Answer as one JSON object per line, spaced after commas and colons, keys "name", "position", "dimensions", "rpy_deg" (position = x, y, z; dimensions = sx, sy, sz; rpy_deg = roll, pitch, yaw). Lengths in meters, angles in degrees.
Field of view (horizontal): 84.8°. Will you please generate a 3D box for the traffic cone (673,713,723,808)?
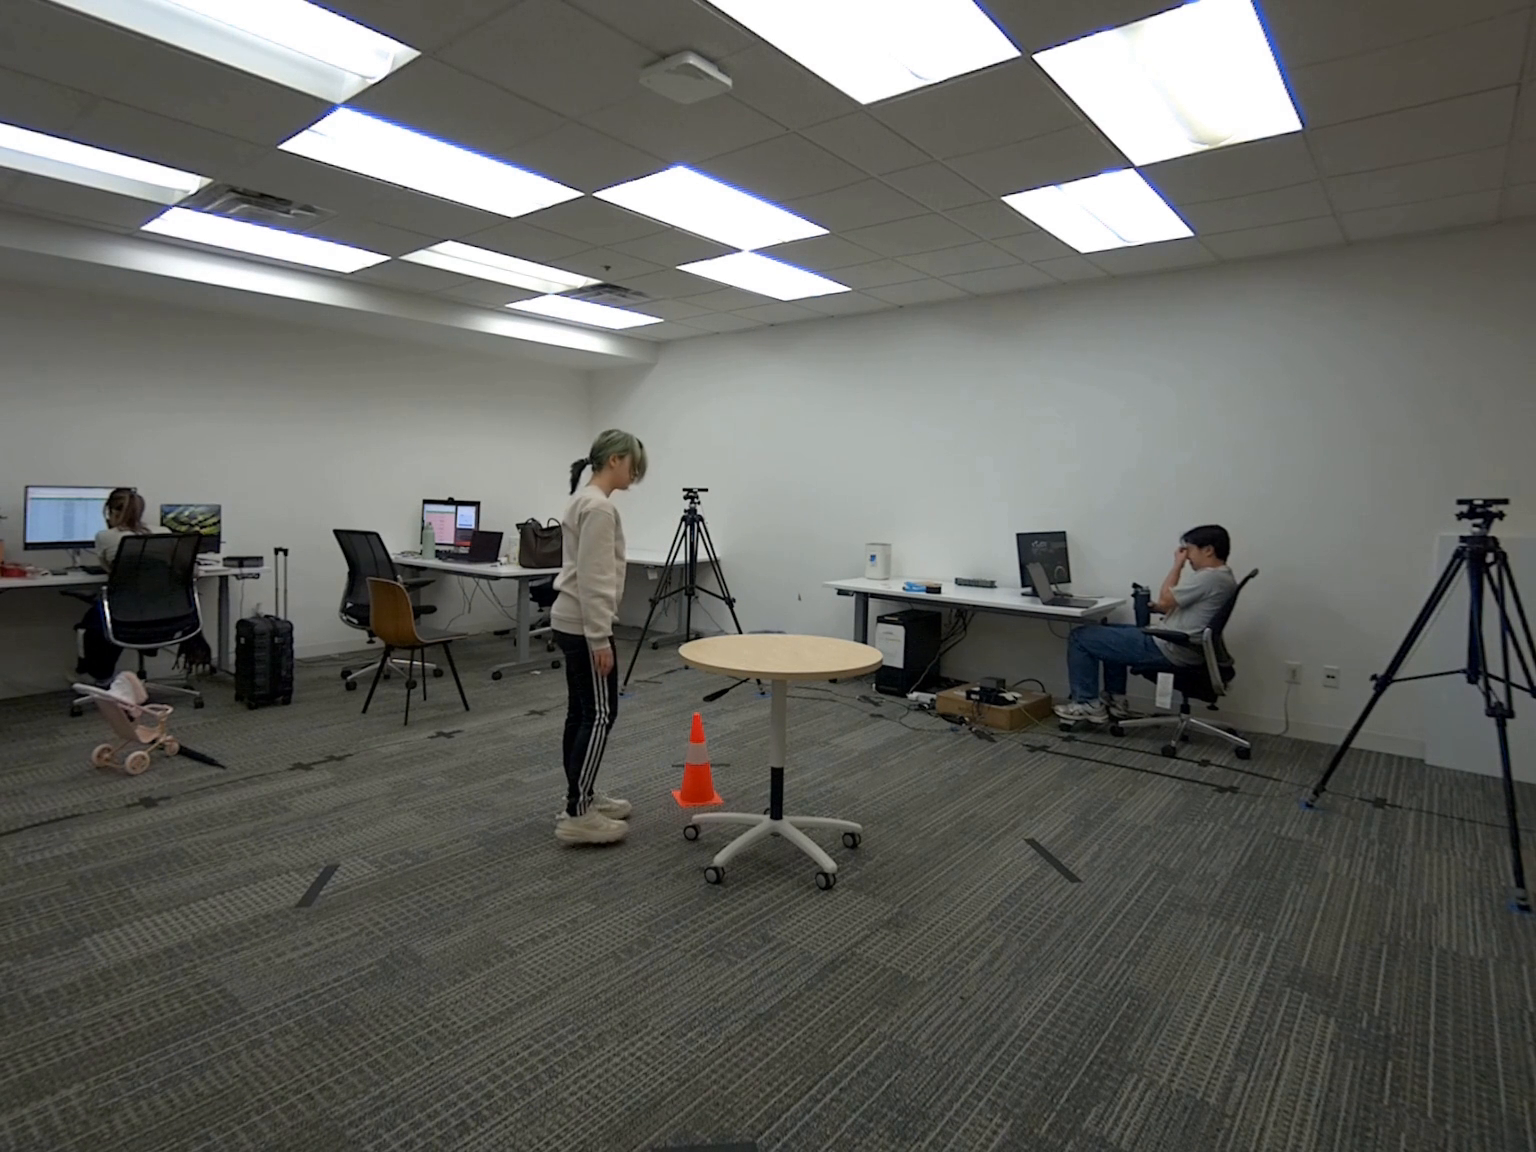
{"name": "traffic cone", "position": [-0.328, 0.813, 3.840], "dimensions": [0.201, 0.382, 0.208], "rpy_deg": [-1, 5, -21]}
